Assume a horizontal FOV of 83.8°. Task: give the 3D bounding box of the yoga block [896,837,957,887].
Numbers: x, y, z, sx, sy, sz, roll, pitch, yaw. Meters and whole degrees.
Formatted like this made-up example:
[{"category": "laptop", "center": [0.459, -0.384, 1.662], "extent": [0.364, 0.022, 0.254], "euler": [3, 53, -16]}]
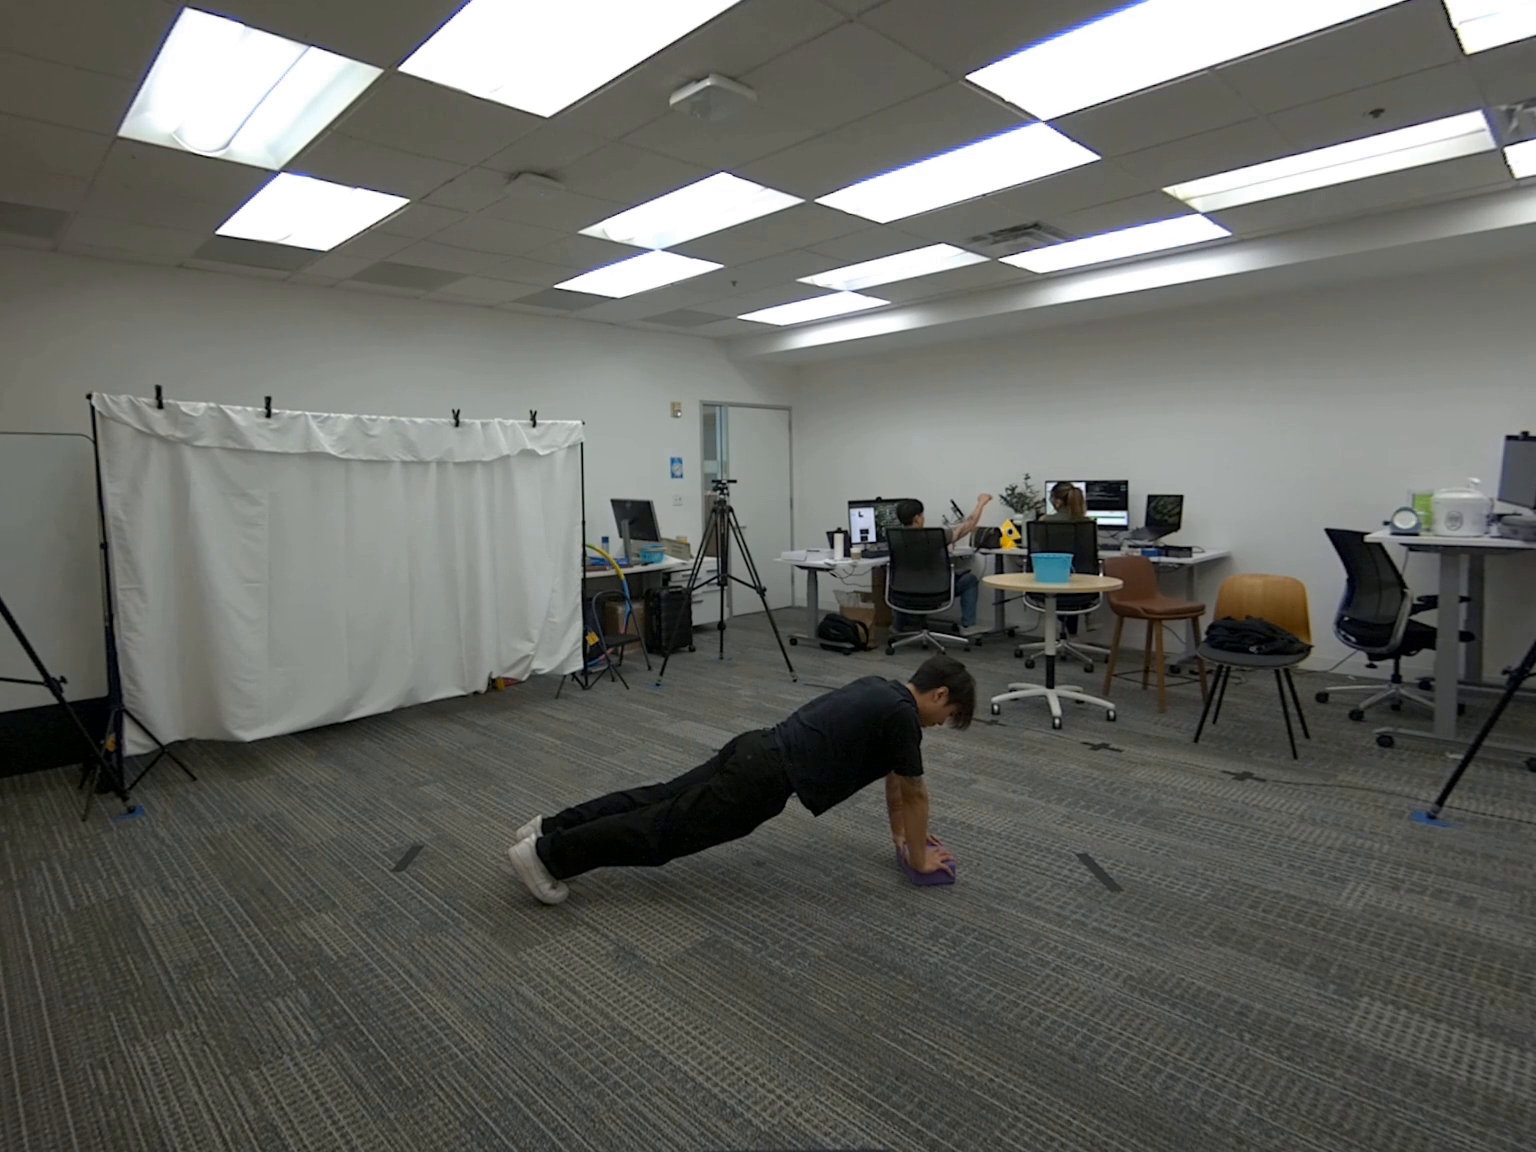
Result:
[{"category": "yoga block", "center": [0.553, 1.001, 3.022], "extent": [0.148, 0.076, 0.232], "euler": [-2, 6, -8]}]
